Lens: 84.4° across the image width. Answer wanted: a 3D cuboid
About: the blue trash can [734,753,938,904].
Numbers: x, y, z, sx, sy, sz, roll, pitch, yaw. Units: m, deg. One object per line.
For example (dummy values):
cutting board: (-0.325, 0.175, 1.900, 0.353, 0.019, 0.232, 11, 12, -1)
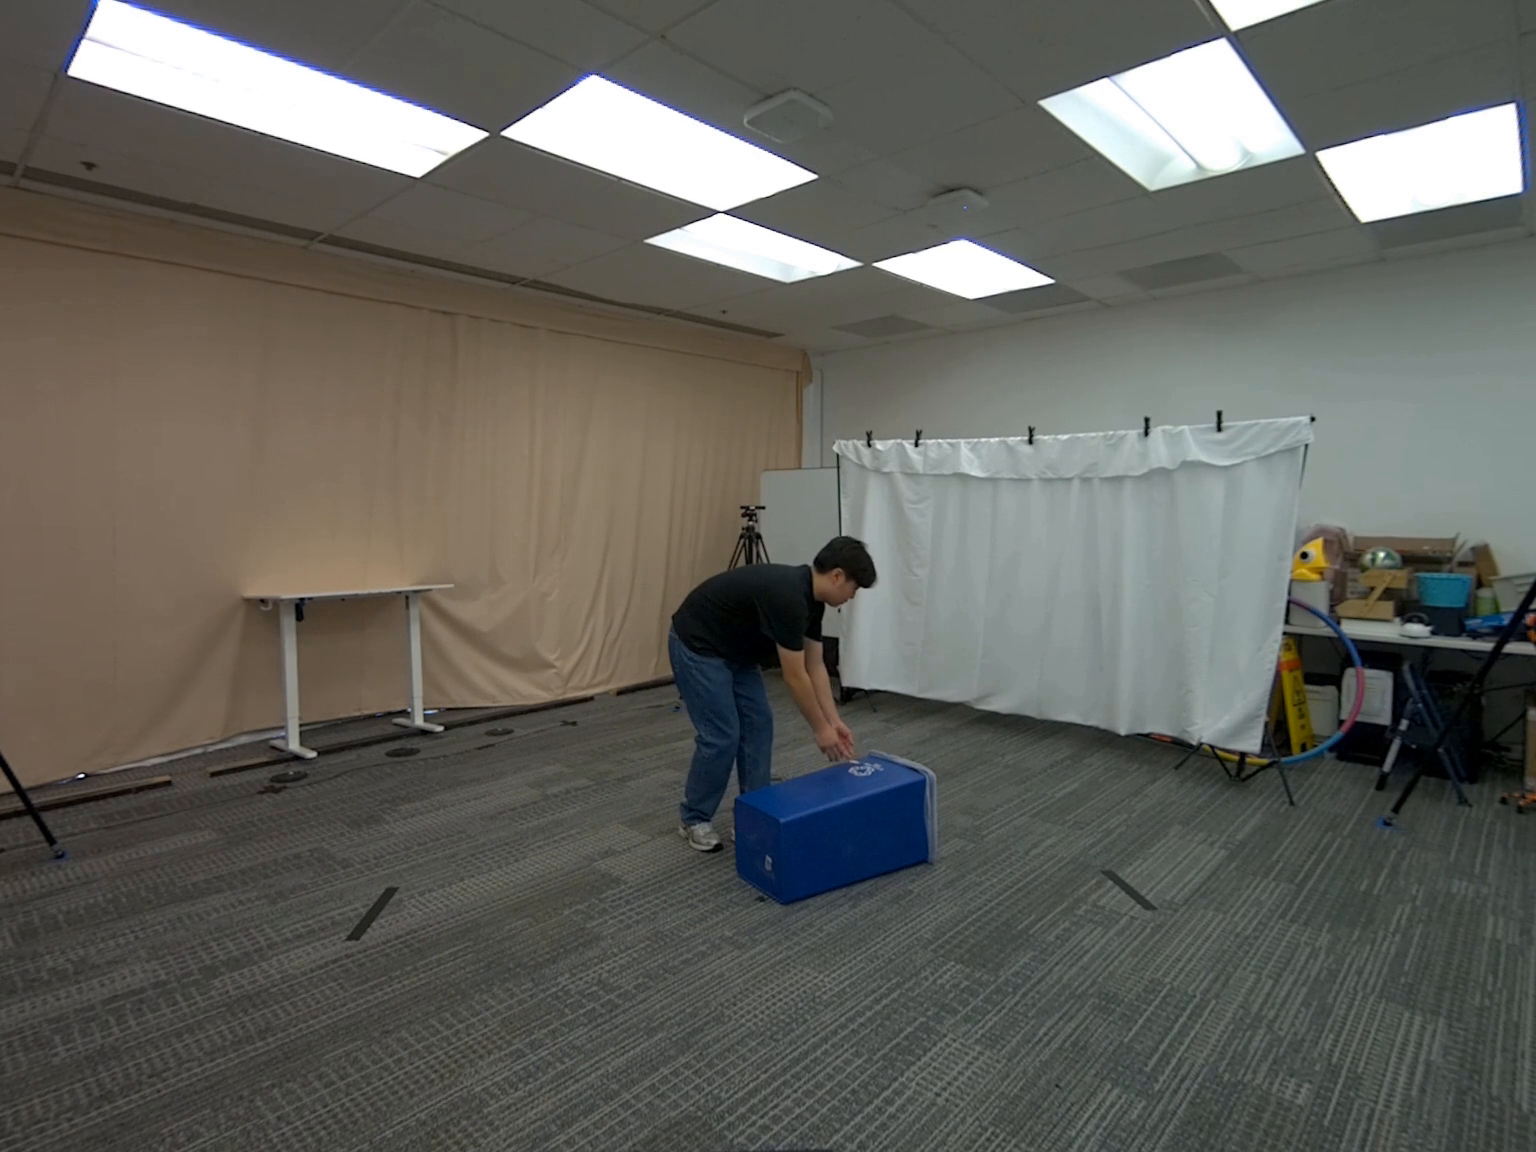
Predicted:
blue trash can: (0.263, 0.955, 3.217, 0.694, 0.377, 0.386, -7, 7, -33)
